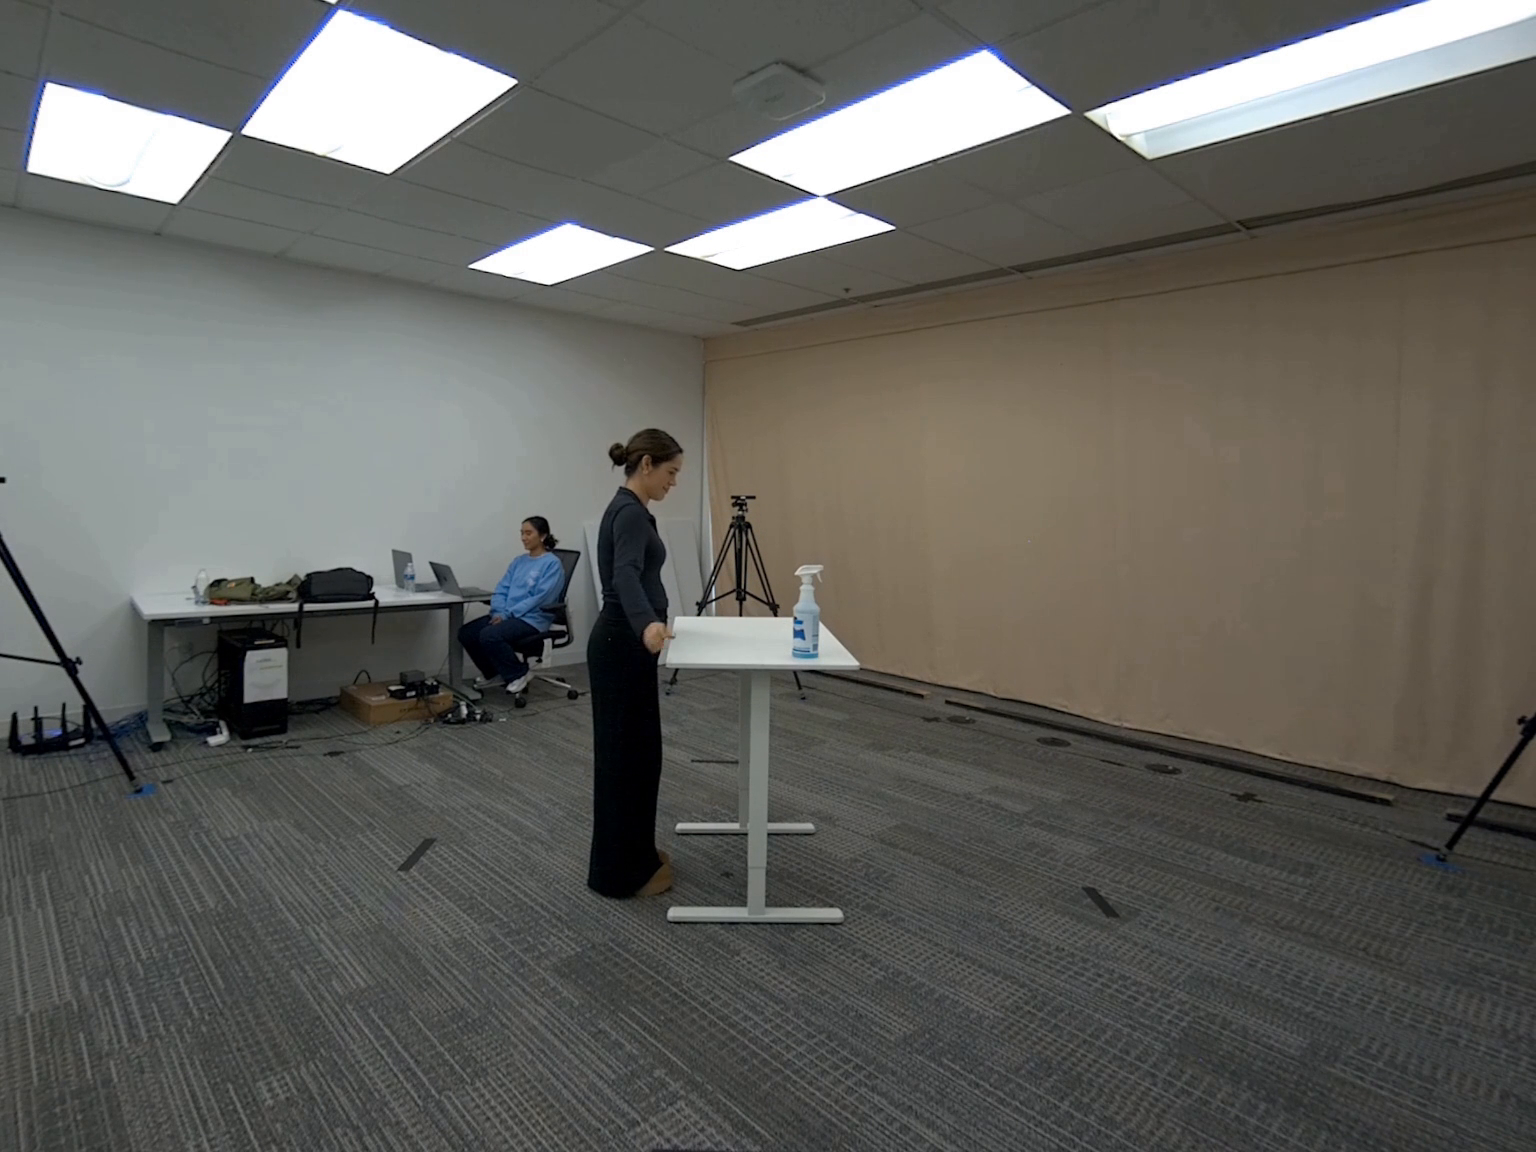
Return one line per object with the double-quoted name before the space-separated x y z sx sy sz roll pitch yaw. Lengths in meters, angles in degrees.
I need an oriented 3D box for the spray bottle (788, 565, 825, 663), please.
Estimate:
"spray bottle" 0.122 0.118 2.713 0.091 0.297 0.086 1 2 18
